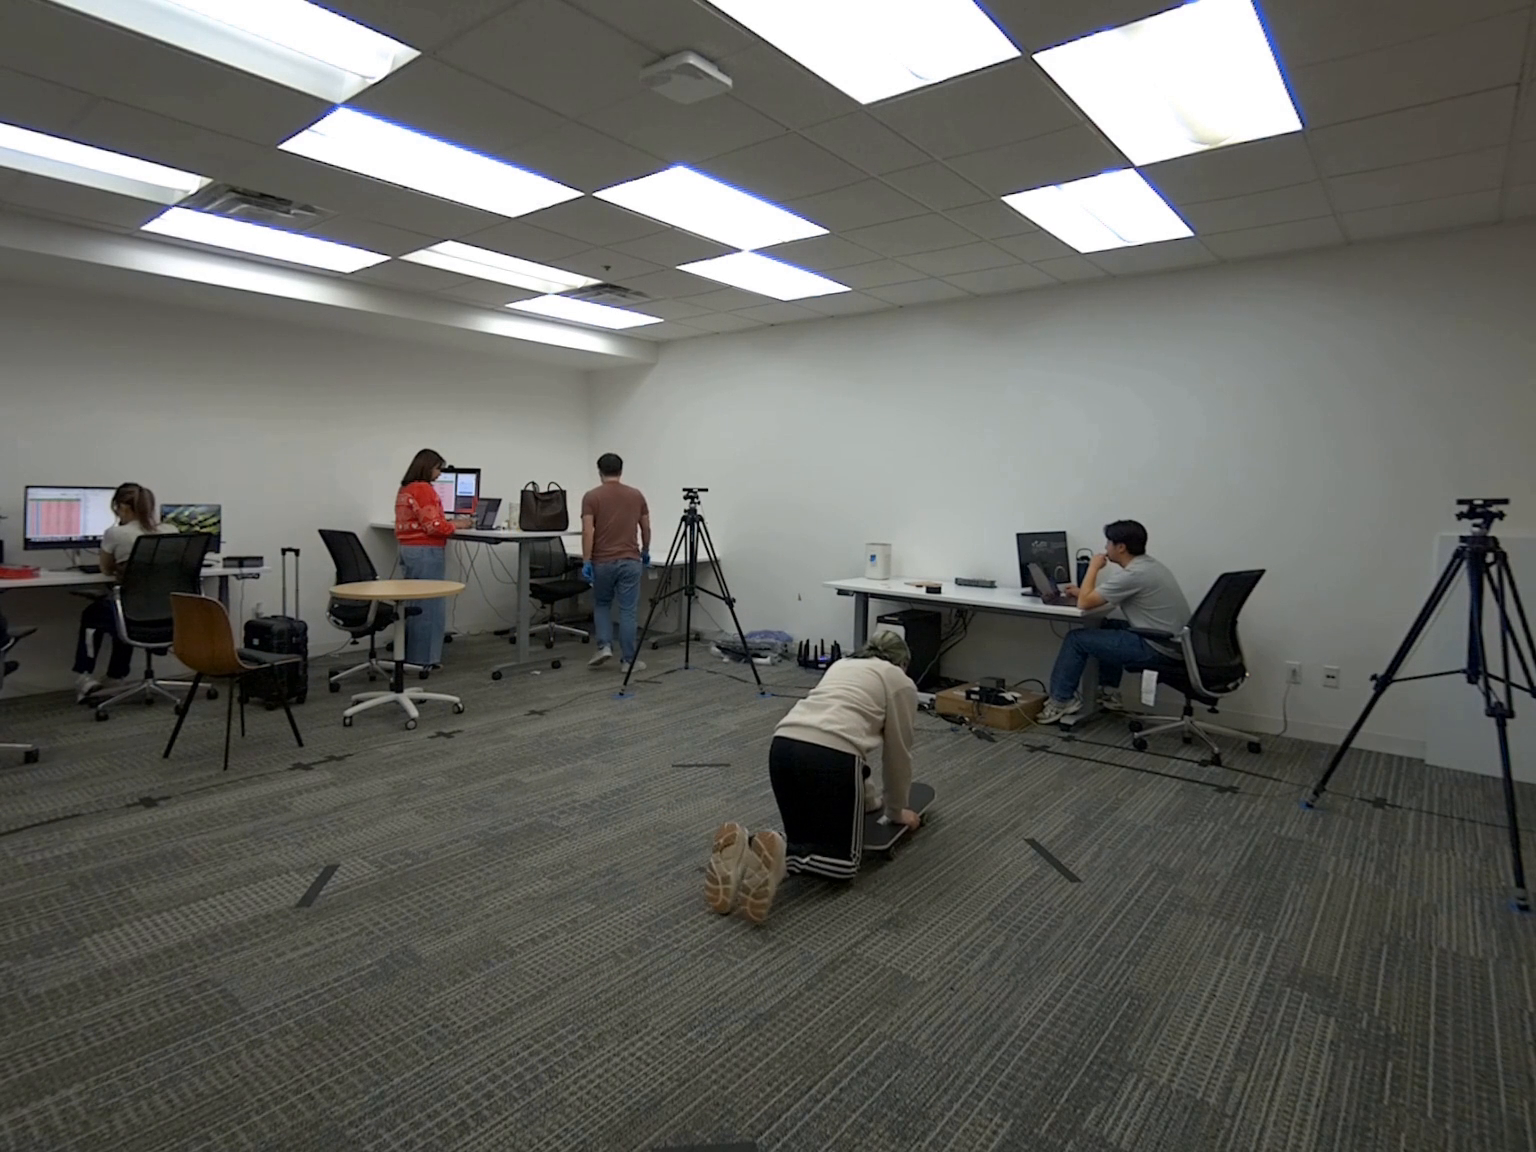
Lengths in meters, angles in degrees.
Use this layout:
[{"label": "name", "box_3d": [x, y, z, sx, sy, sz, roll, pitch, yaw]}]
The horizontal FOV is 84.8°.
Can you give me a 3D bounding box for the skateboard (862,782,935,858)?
[{"label": "skateboard", "box_3d": [0.487, 0.998, 3.443, 0.199, 0.110, 0.766, 5, 7, 28]}]
